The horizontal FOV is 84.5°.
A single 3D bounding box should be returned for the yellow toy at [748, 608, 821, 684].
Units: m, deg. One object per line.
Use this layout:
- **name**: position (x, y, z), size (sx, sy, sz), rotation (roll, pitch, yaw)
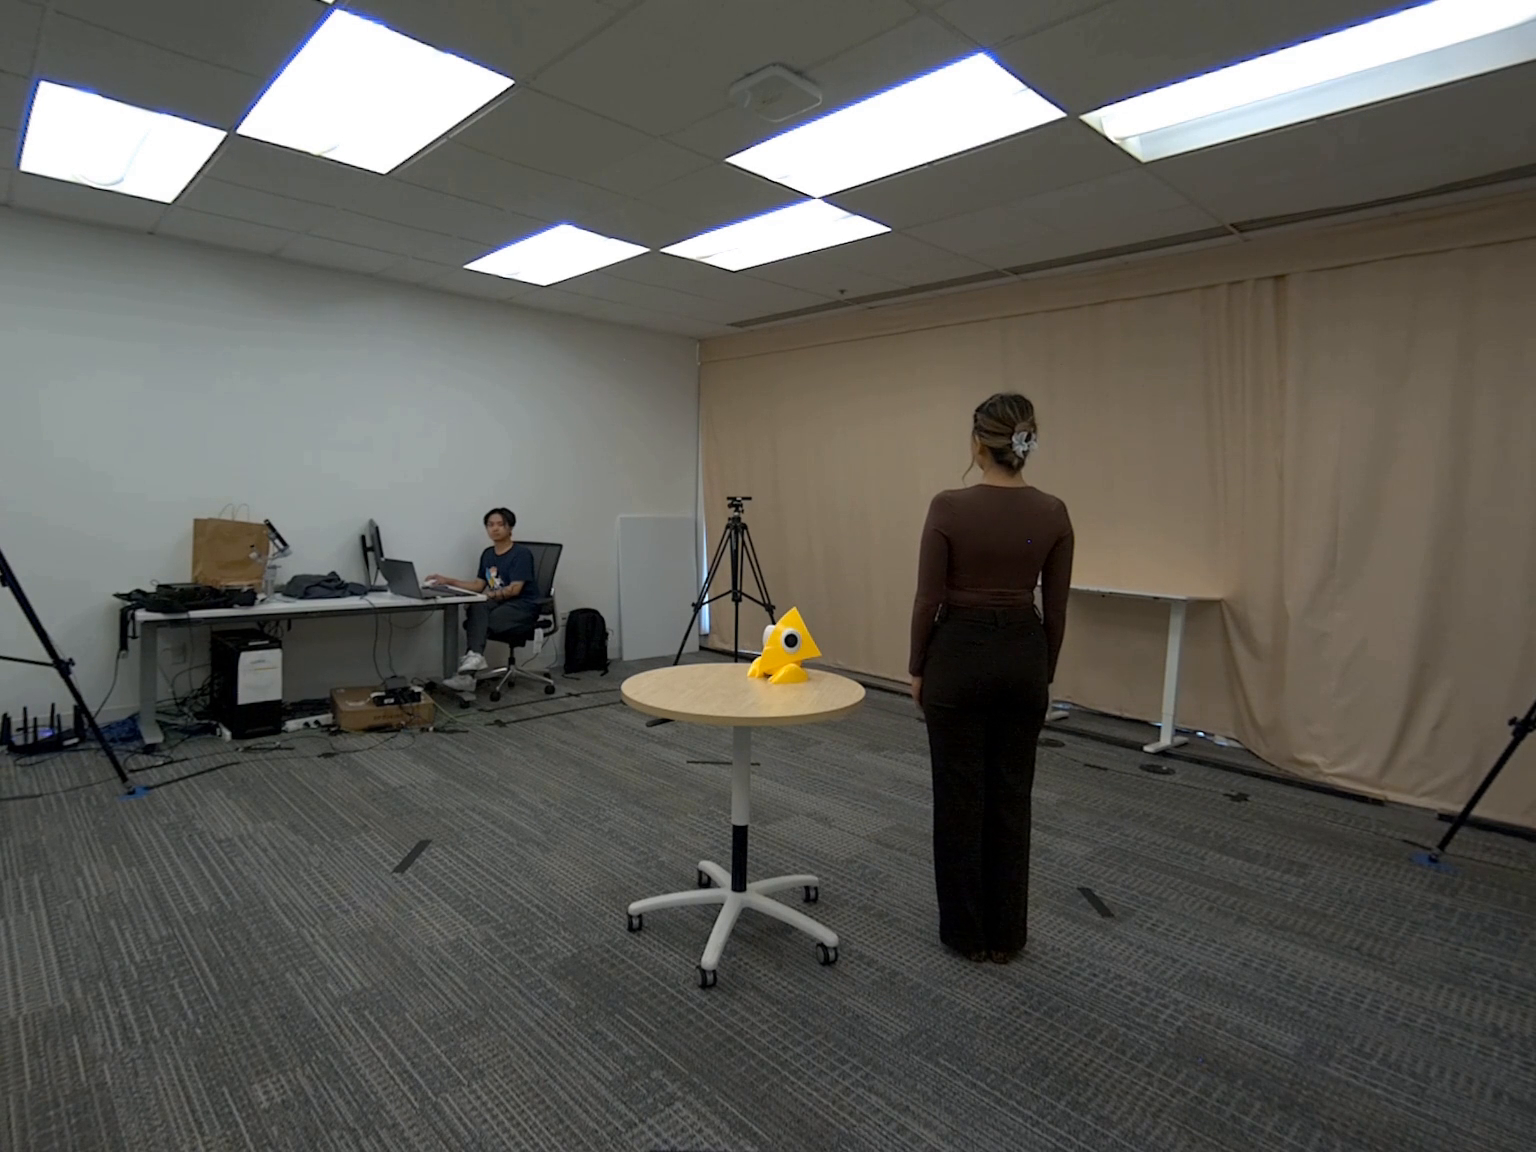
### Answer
- **yellow toy**: position (0.041, 0.224, 2.817), size (0.189, 0.230, 0.210), rotation (-3, 5, -39)
